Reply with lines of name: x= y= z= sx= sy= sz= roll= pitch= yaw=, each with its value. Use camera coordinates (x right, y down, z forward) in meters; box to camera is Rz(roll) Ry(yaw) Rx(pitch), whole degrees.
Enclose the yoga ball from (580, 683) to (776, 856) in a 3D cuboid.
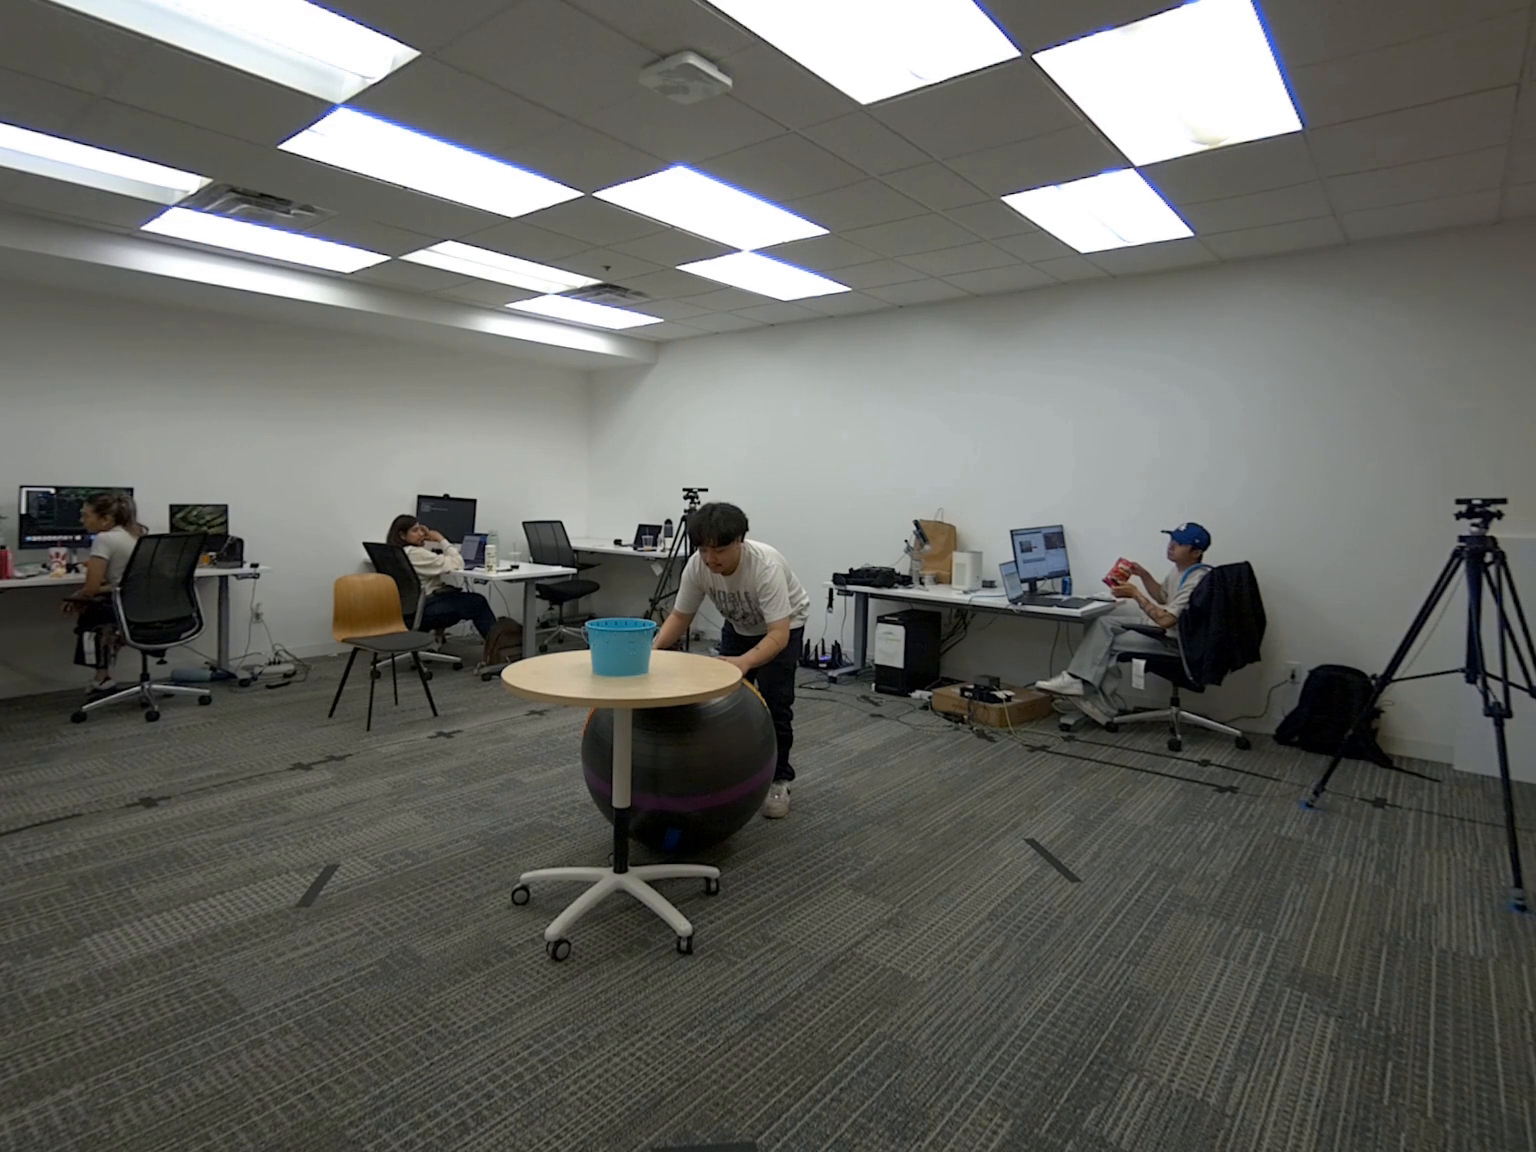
yoga ball: x=-0.356 y=0.681 z=3.329 sx=0.757 sy=0.755 sz=0.762 roll=1 pitch=4 yaw=-2
